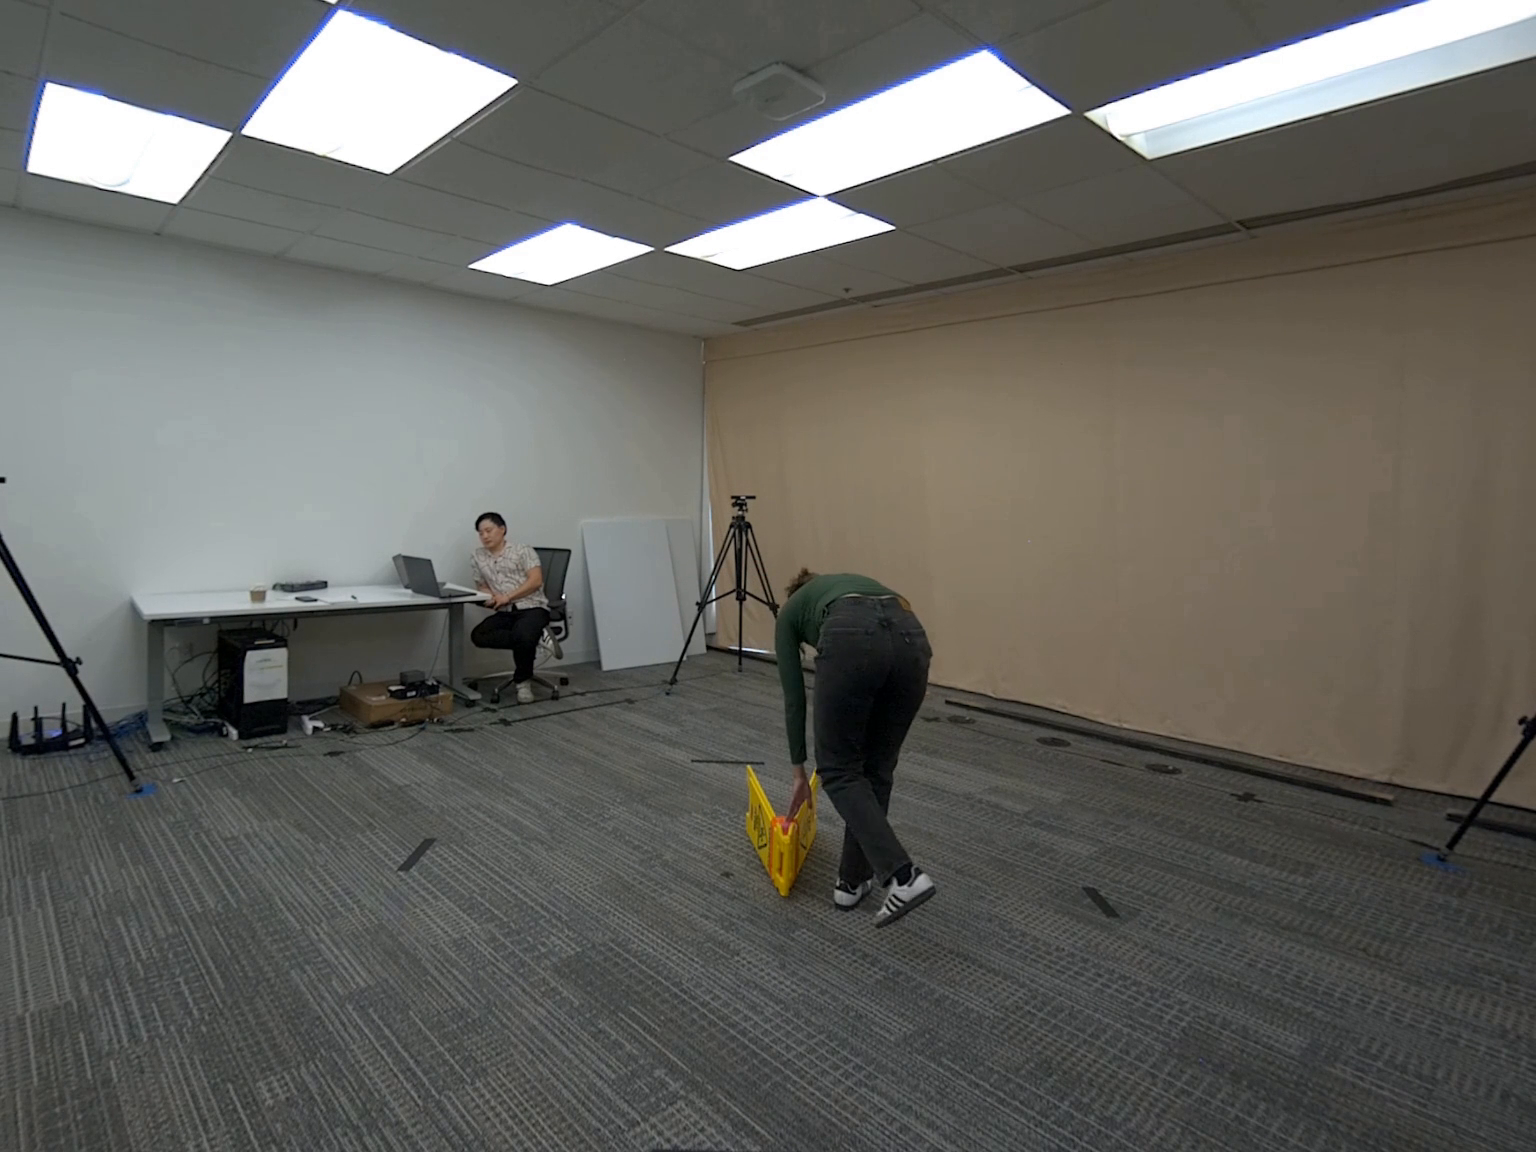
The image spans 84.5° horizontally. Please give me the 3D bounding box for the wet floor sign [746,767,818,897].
[{"bbox_3d":[0.053,0.965,3.198,0.290,0.281,0.649,1,7,0],"label":"wet floor sign"}]
